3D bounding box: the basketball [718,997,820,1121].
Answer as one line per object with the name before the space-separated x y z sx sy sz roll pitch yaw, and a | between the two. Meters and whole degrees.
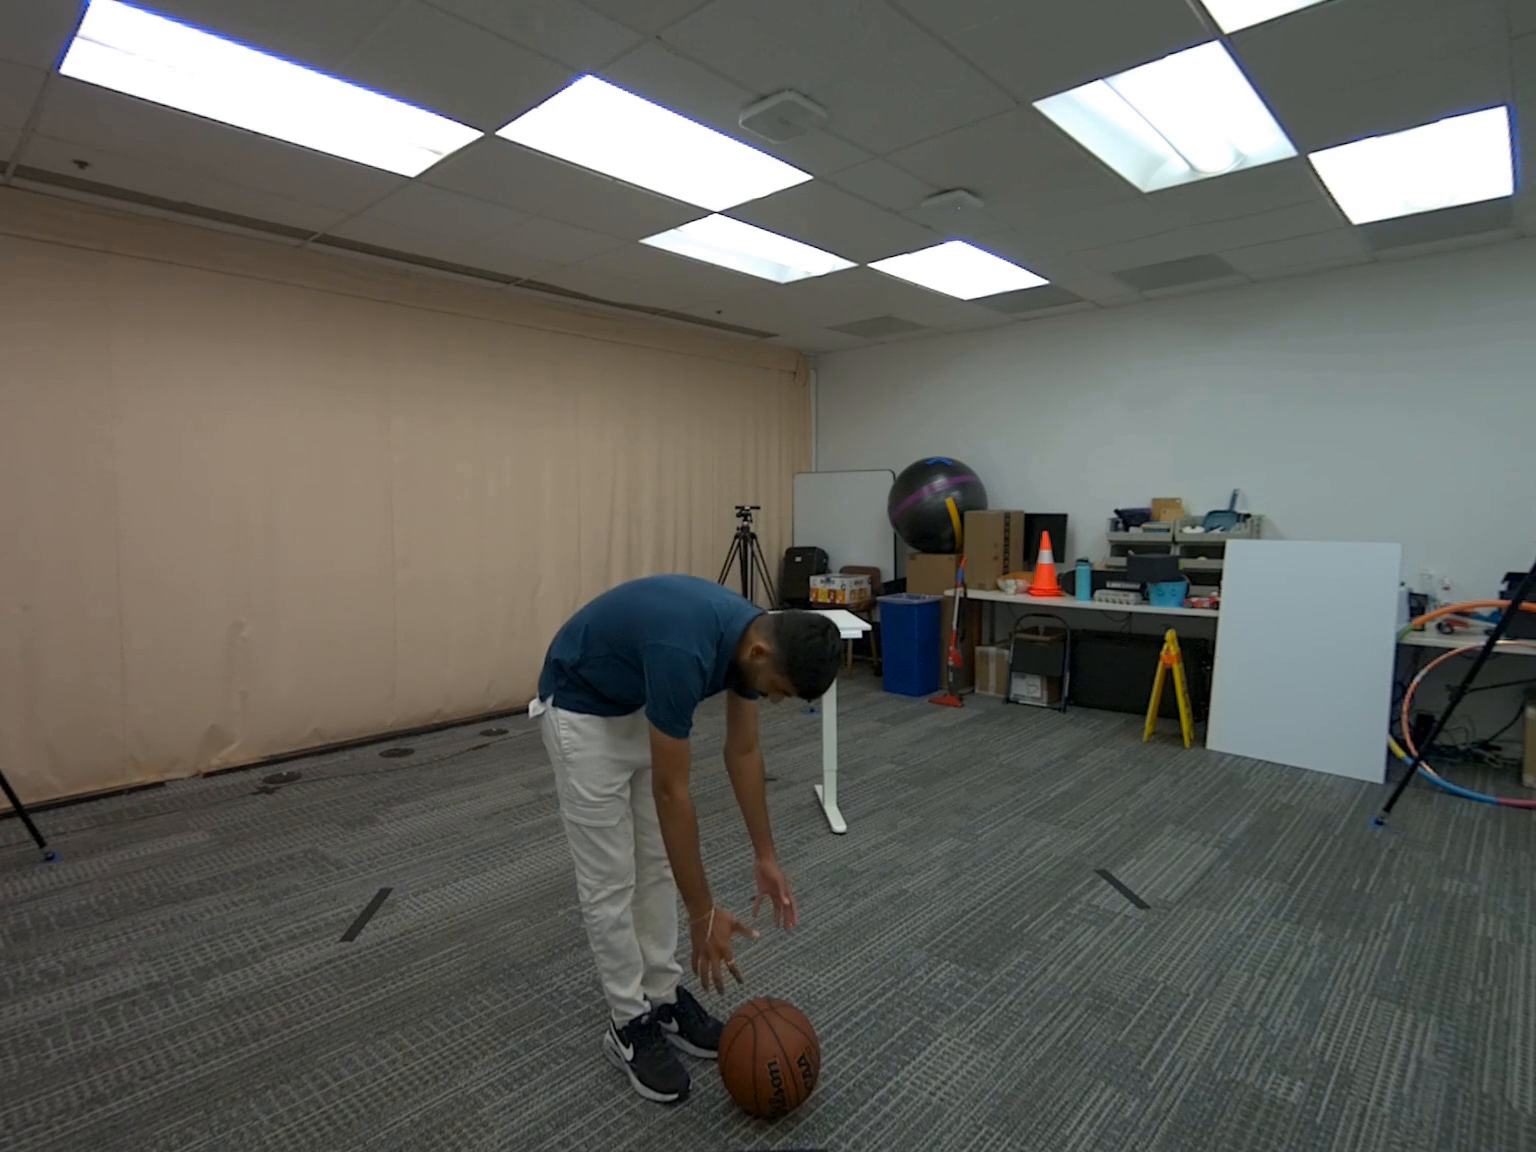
basketball | 0.007 1.113 1.945 0.236 0.235 0.237 0 4 -2
